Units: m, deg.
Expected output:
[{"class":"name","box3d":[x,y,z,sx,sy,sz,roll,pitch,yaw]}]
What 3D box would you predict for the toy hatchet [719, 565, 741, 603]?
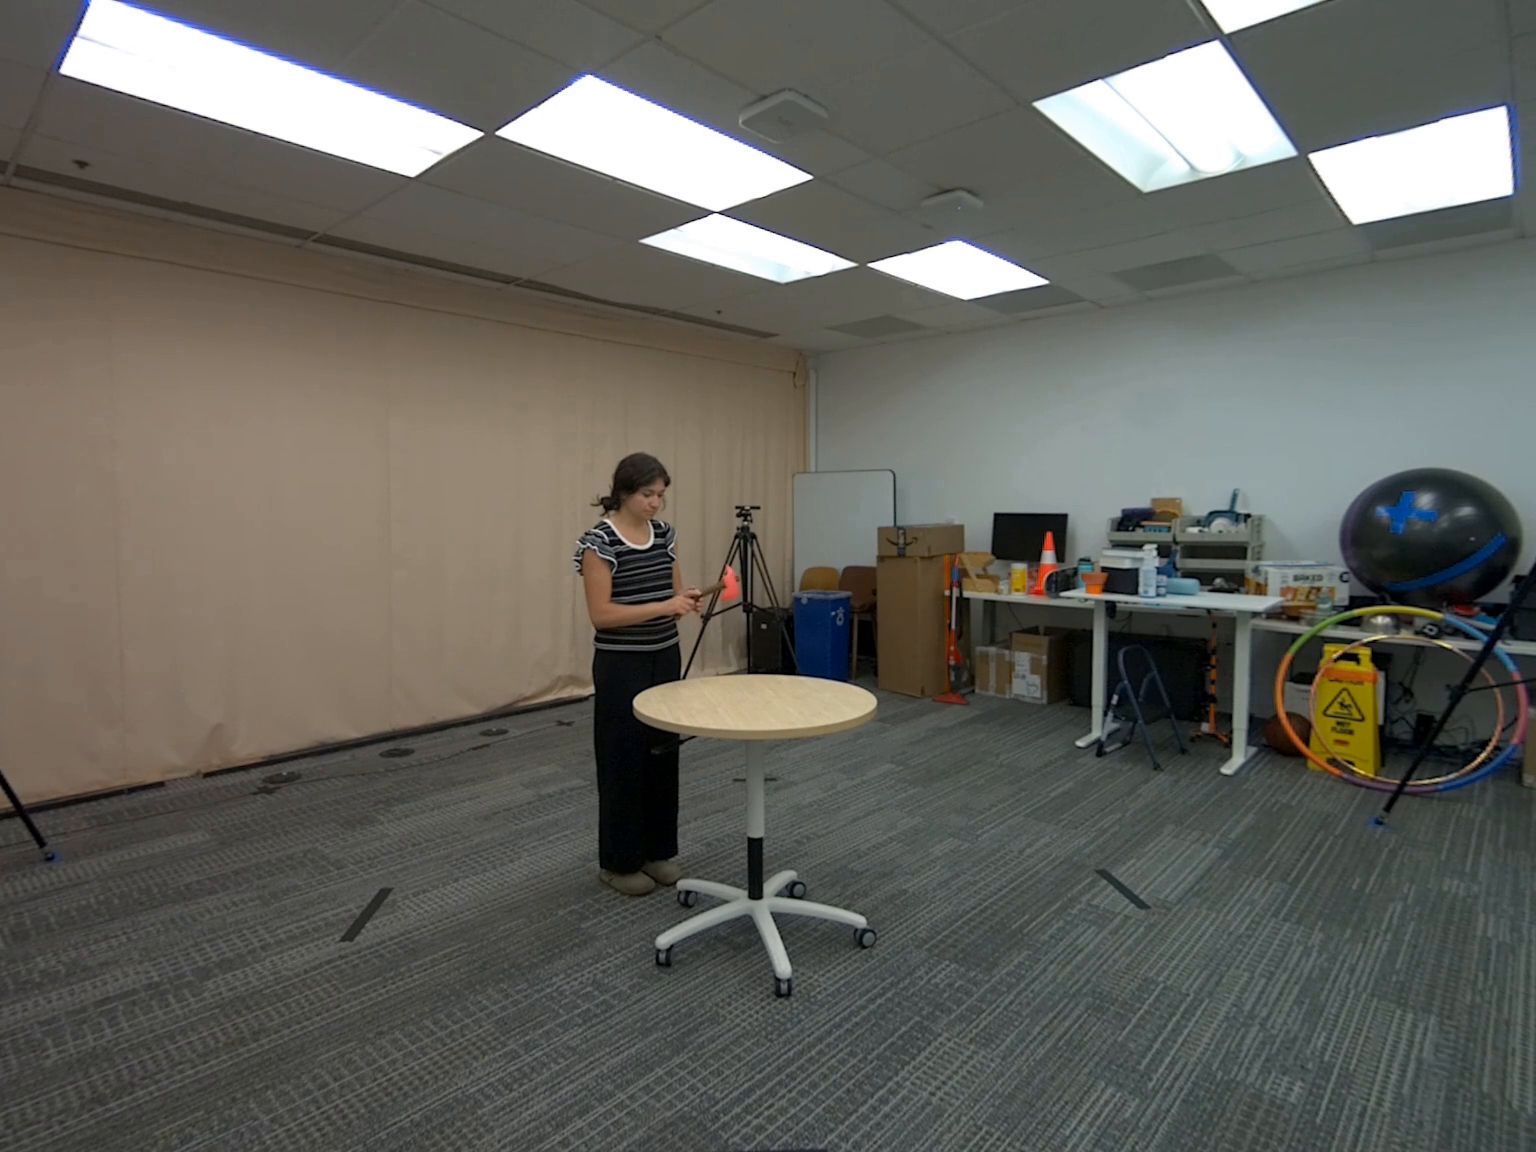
[{"class":"toy hatchet","box3d":[-0.199,0.080,2.905,0.135,0.270,0.028,51,4,34]}]
